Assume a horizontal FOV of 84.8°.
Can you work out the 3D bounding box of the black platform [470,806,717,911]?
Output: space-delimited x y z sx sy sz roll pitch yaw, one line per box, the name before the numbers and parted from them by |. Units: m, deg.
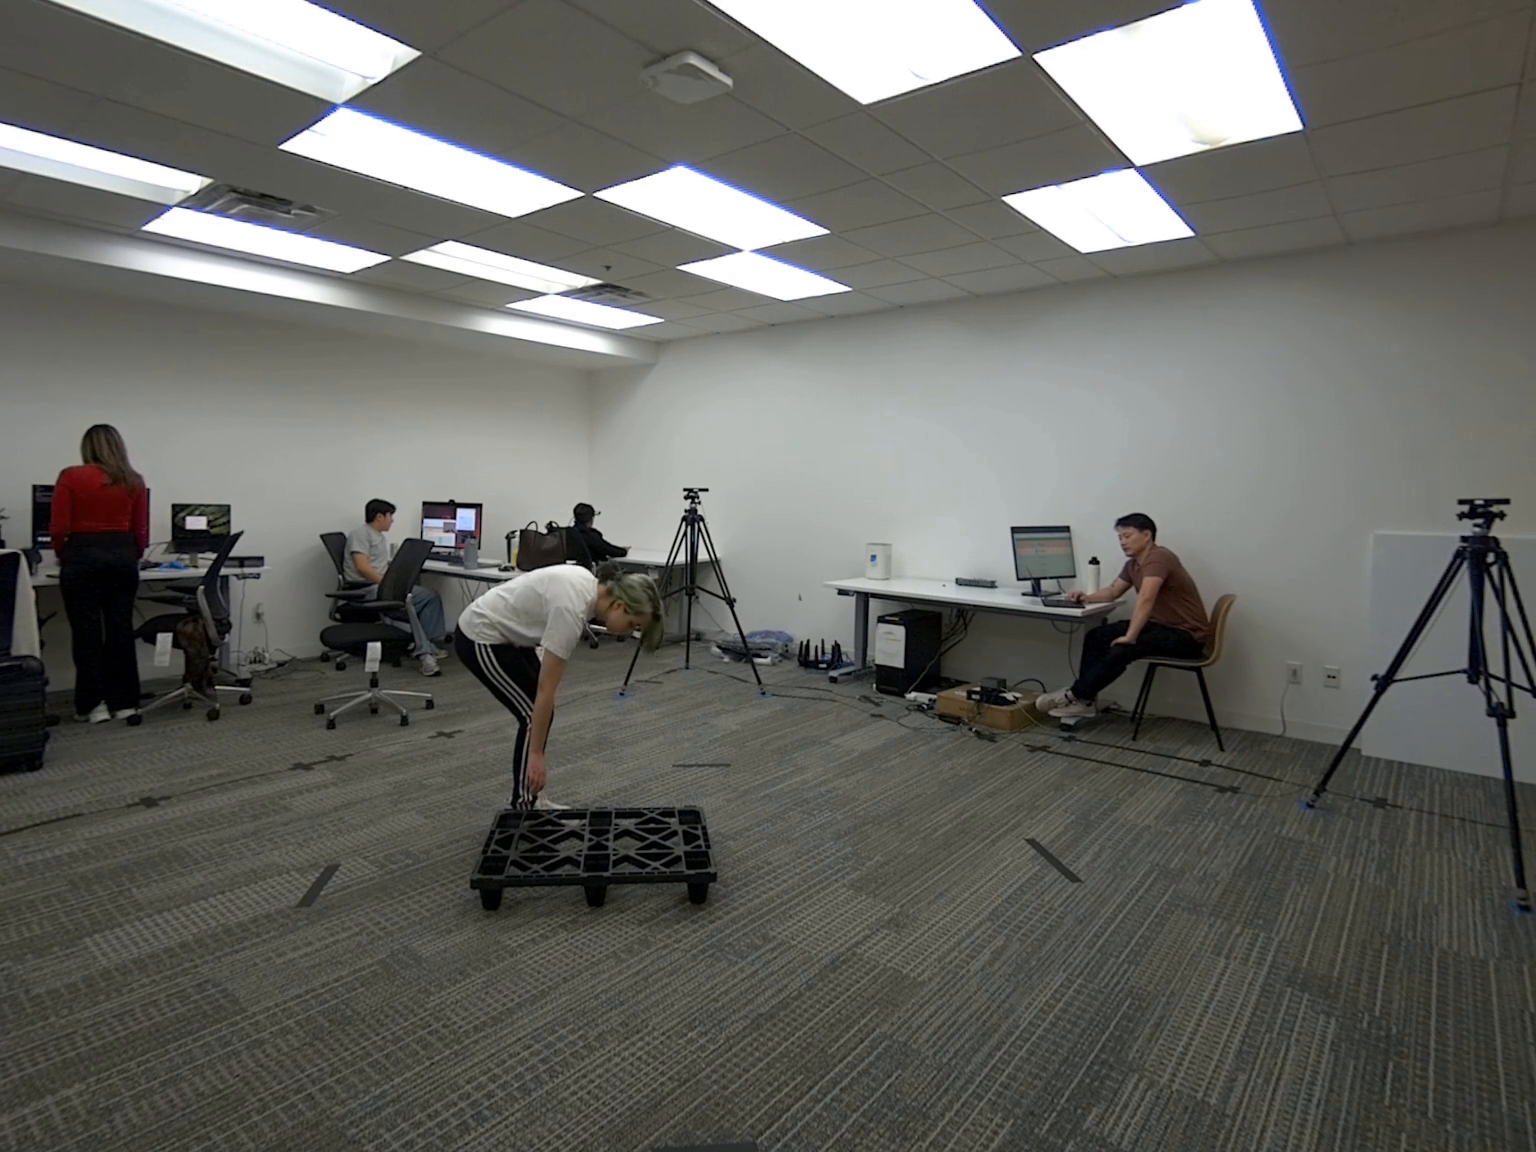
black platform | -0.614 1.001 3.037 0.800 0.143 0.612 0 6 -7
